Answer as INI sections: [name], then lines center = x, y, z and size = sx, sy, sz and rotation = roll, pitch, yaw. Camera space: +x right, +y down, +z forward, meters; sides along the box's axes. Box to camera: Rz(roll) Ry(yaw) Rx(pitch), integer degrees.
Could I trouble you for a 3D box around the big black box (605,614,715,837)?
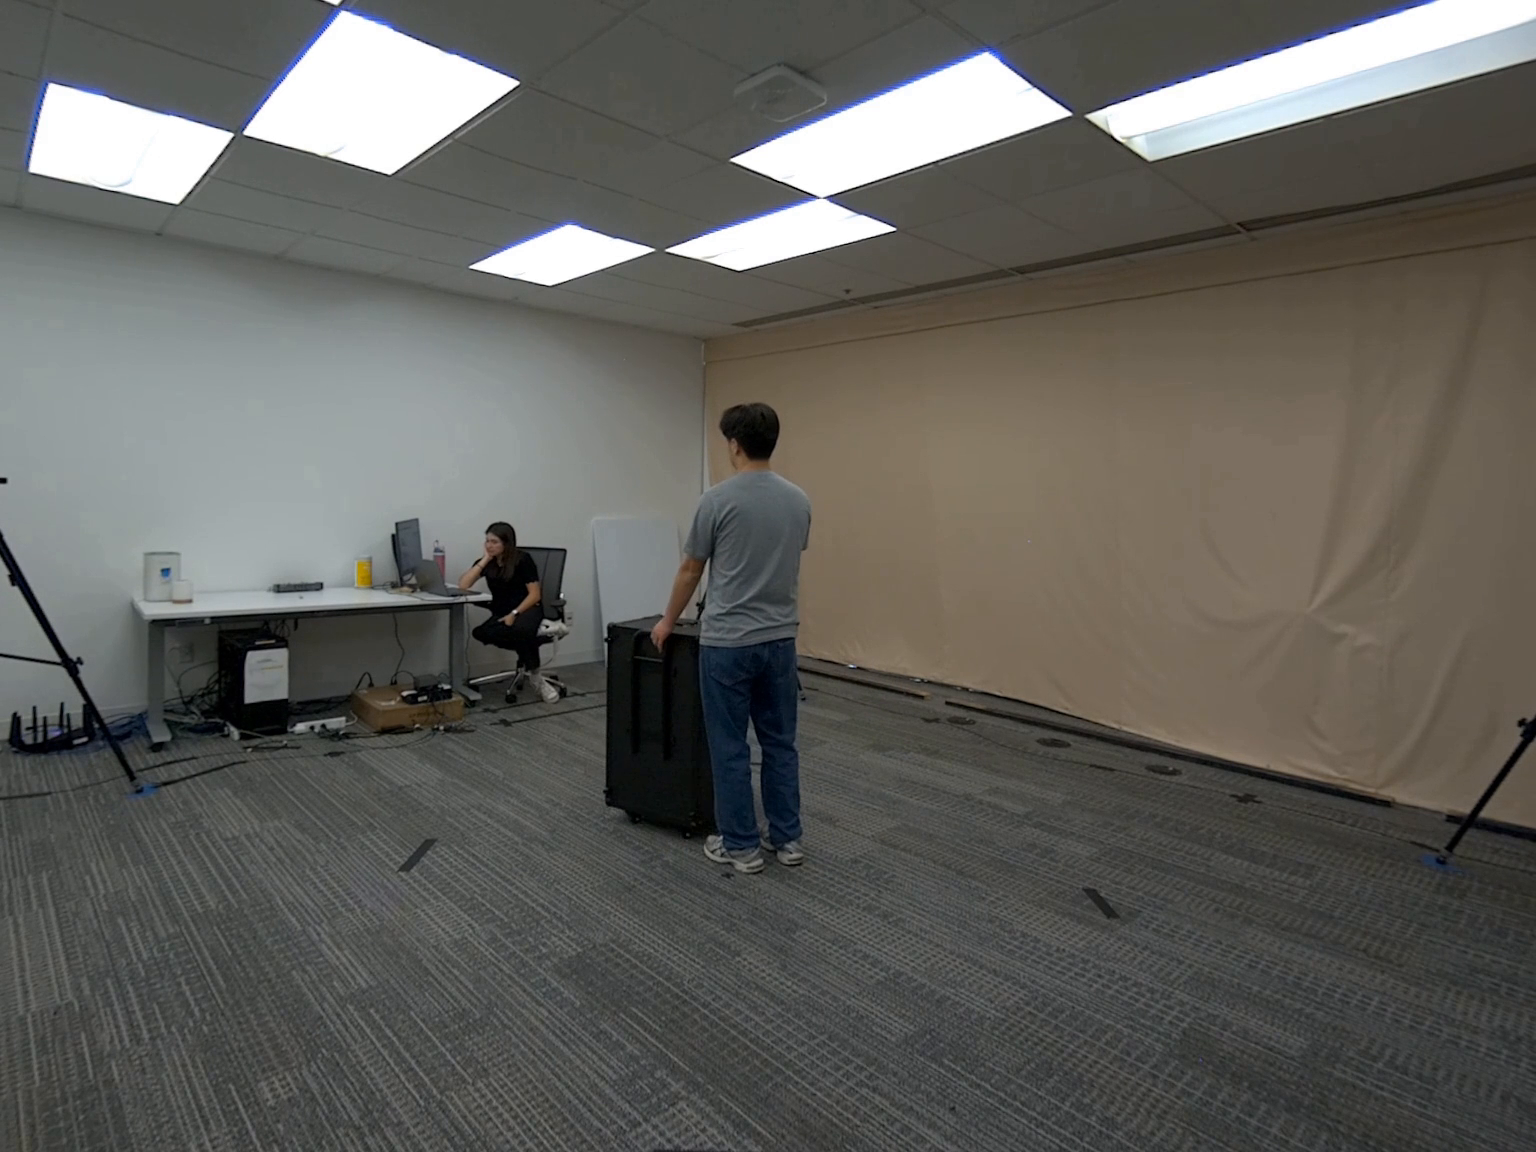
[big black box]
center = -0.397, 0.636, 3.588
size = 0.533, 0.858, 0.389
rotation = 4, 5, 31
